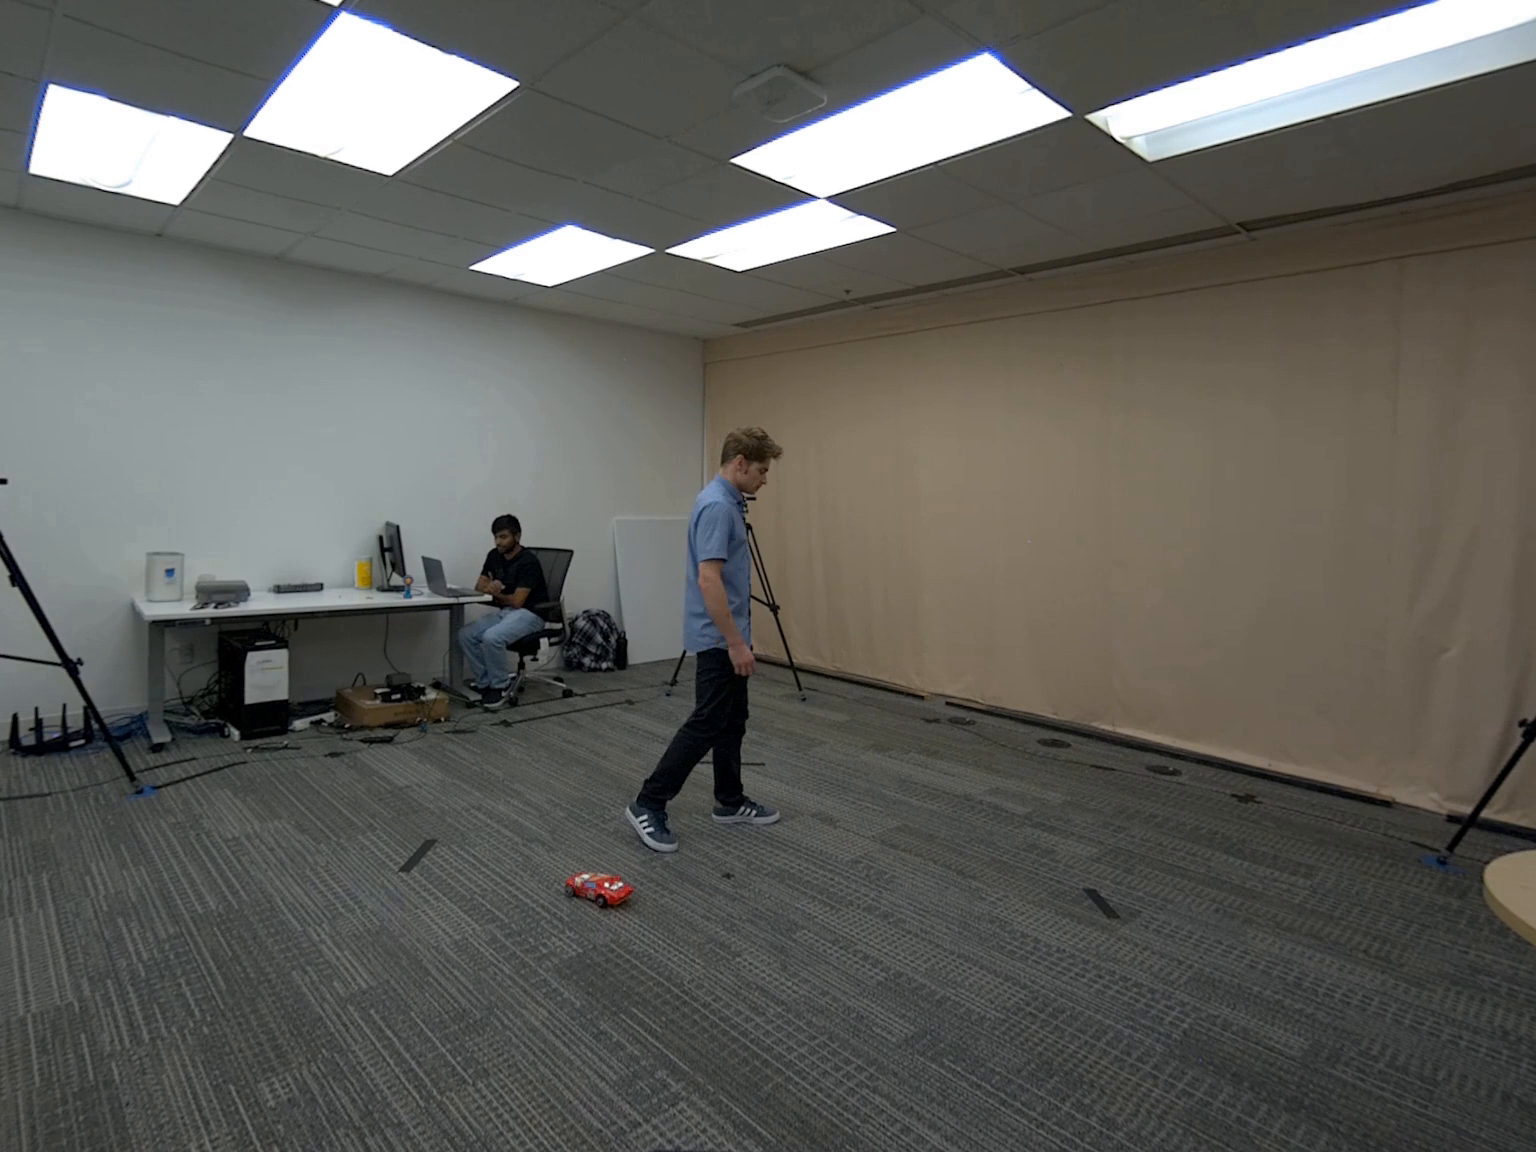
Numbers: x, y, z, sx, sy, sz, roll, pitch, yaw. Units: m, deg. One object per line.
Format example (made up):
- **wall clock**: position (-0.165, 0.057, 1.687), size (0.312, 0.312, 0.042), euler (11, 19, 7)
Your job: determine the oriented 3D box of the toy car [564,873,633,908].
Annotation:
- **toy car**: position (-0.586, 1.084, 2.905), size (0.259, 0.083, 0.128), euler (-8, -1, 34)
